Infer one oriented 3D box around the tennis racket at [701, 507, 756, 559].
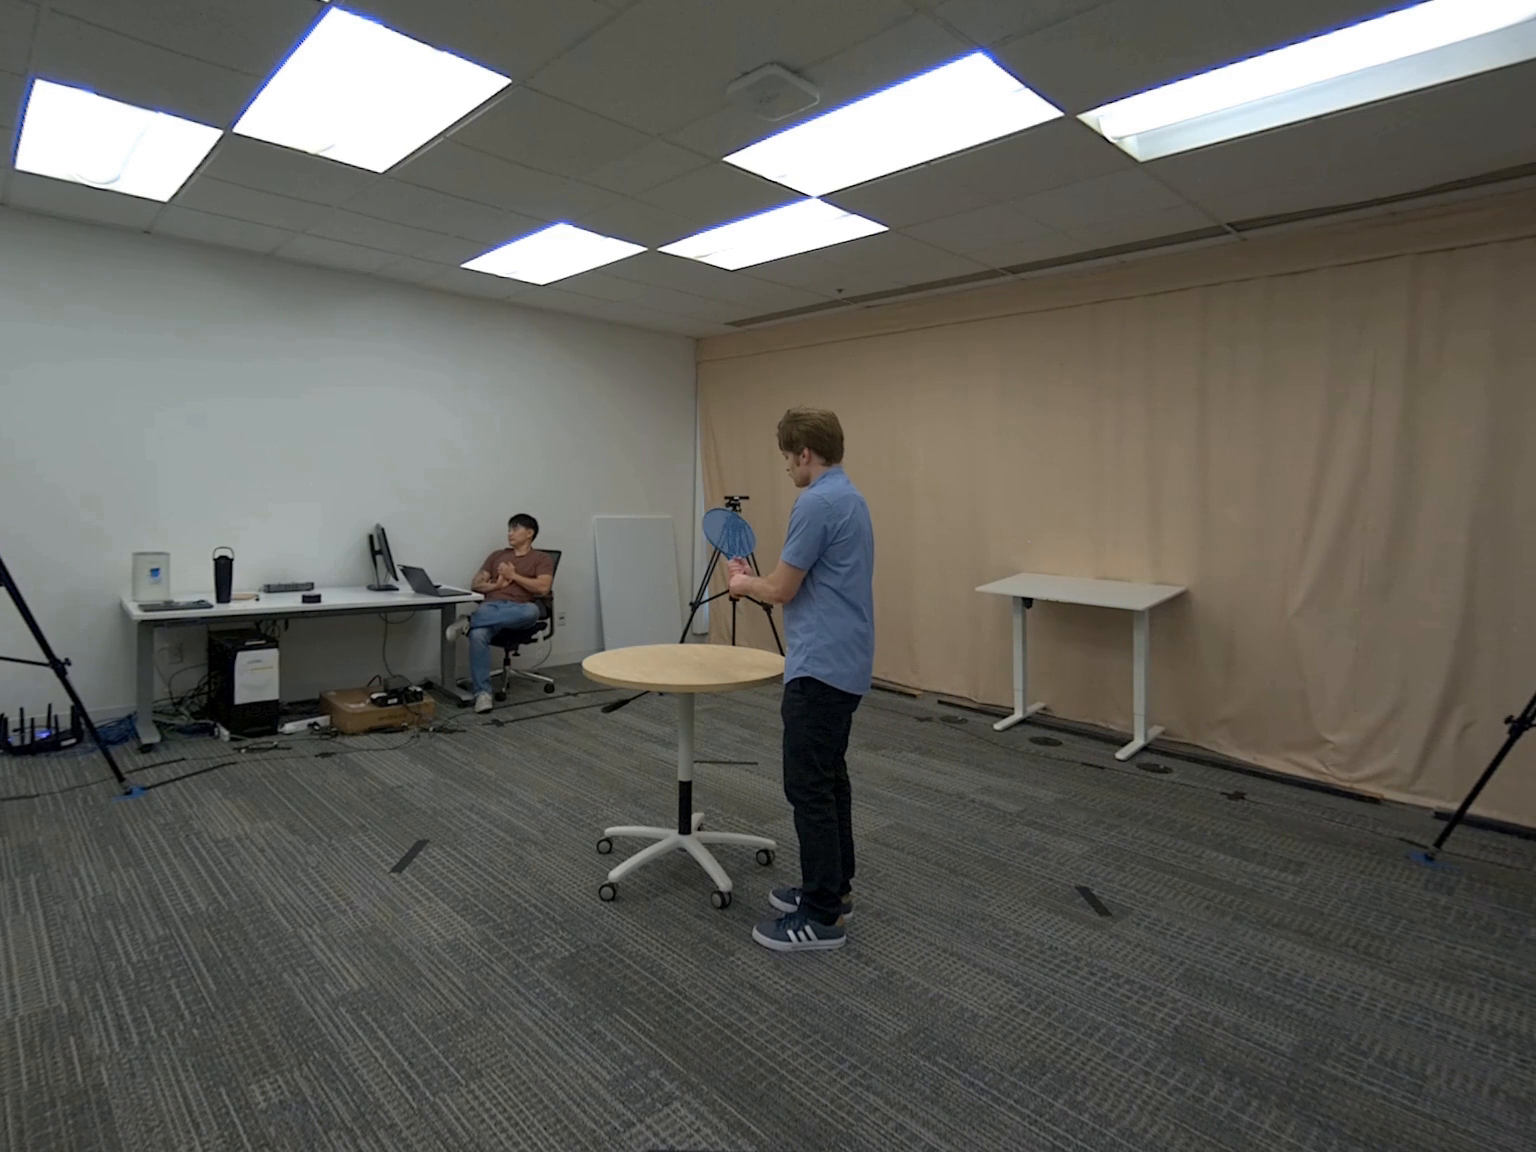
[{"bbox_3d":[-0.115,-0.093,3.092,0.209,0.031,0.446,-3,47,-29],"label":"tennis racket"}]
